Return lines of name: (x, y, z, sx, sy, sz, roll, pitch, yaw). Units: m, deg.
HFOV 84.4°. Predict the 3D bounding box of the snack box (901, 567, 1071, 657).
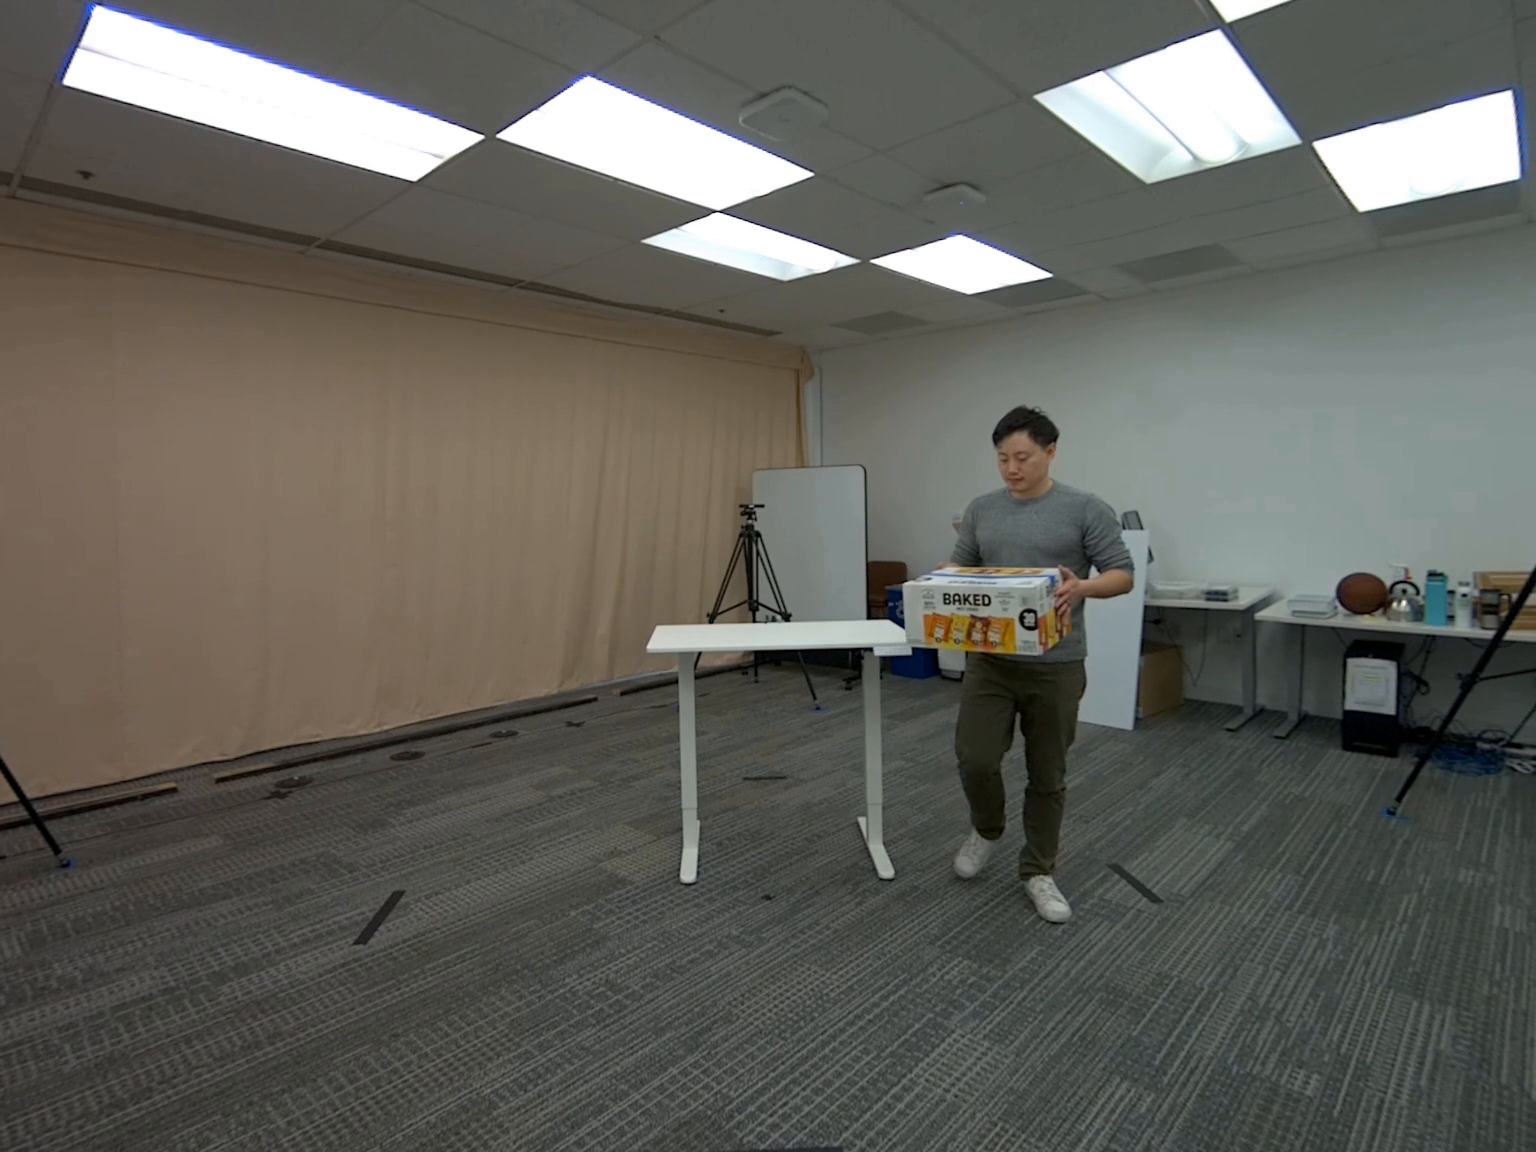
snack box: (0.693, 0.105, 2.628, 0.418, 0.205, 0.331, 1, 9, 35)
